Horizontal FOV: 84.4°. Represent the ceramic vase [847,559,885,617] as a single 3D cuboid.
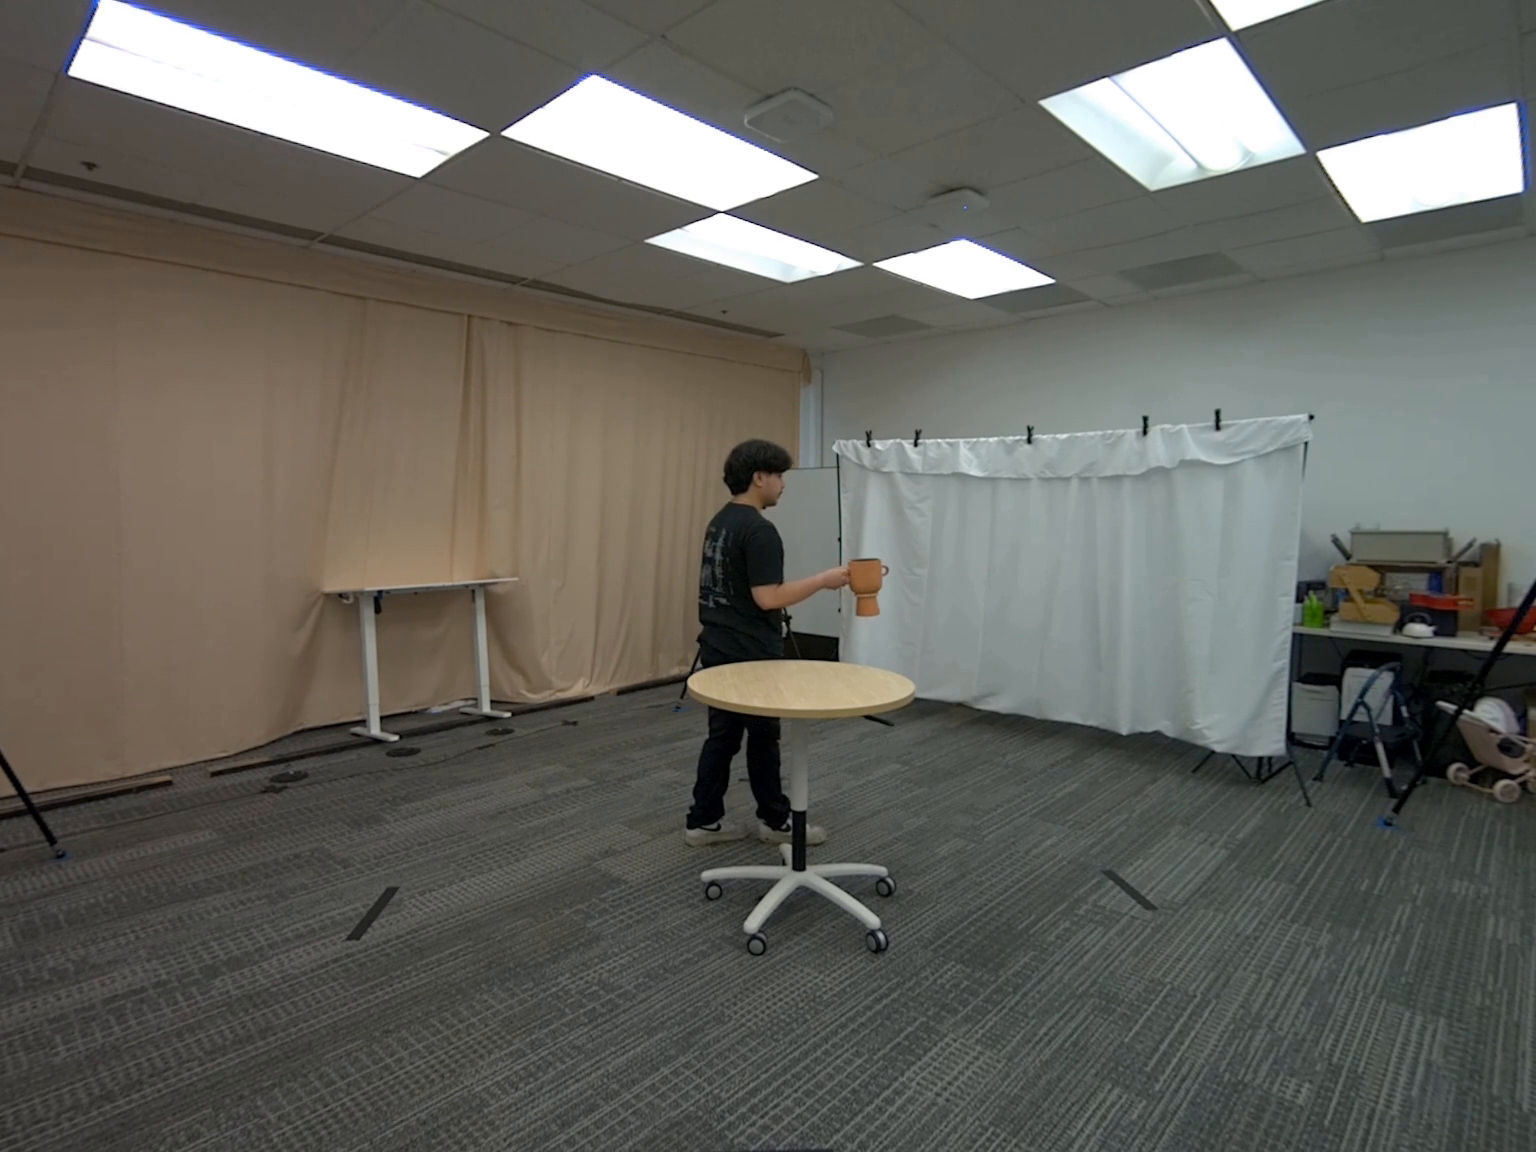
[{"bbox_3d":[0.396,0.046,3.357,0.163,0.219,0.131,0,7,31],"label":"ceramic vase"}]
